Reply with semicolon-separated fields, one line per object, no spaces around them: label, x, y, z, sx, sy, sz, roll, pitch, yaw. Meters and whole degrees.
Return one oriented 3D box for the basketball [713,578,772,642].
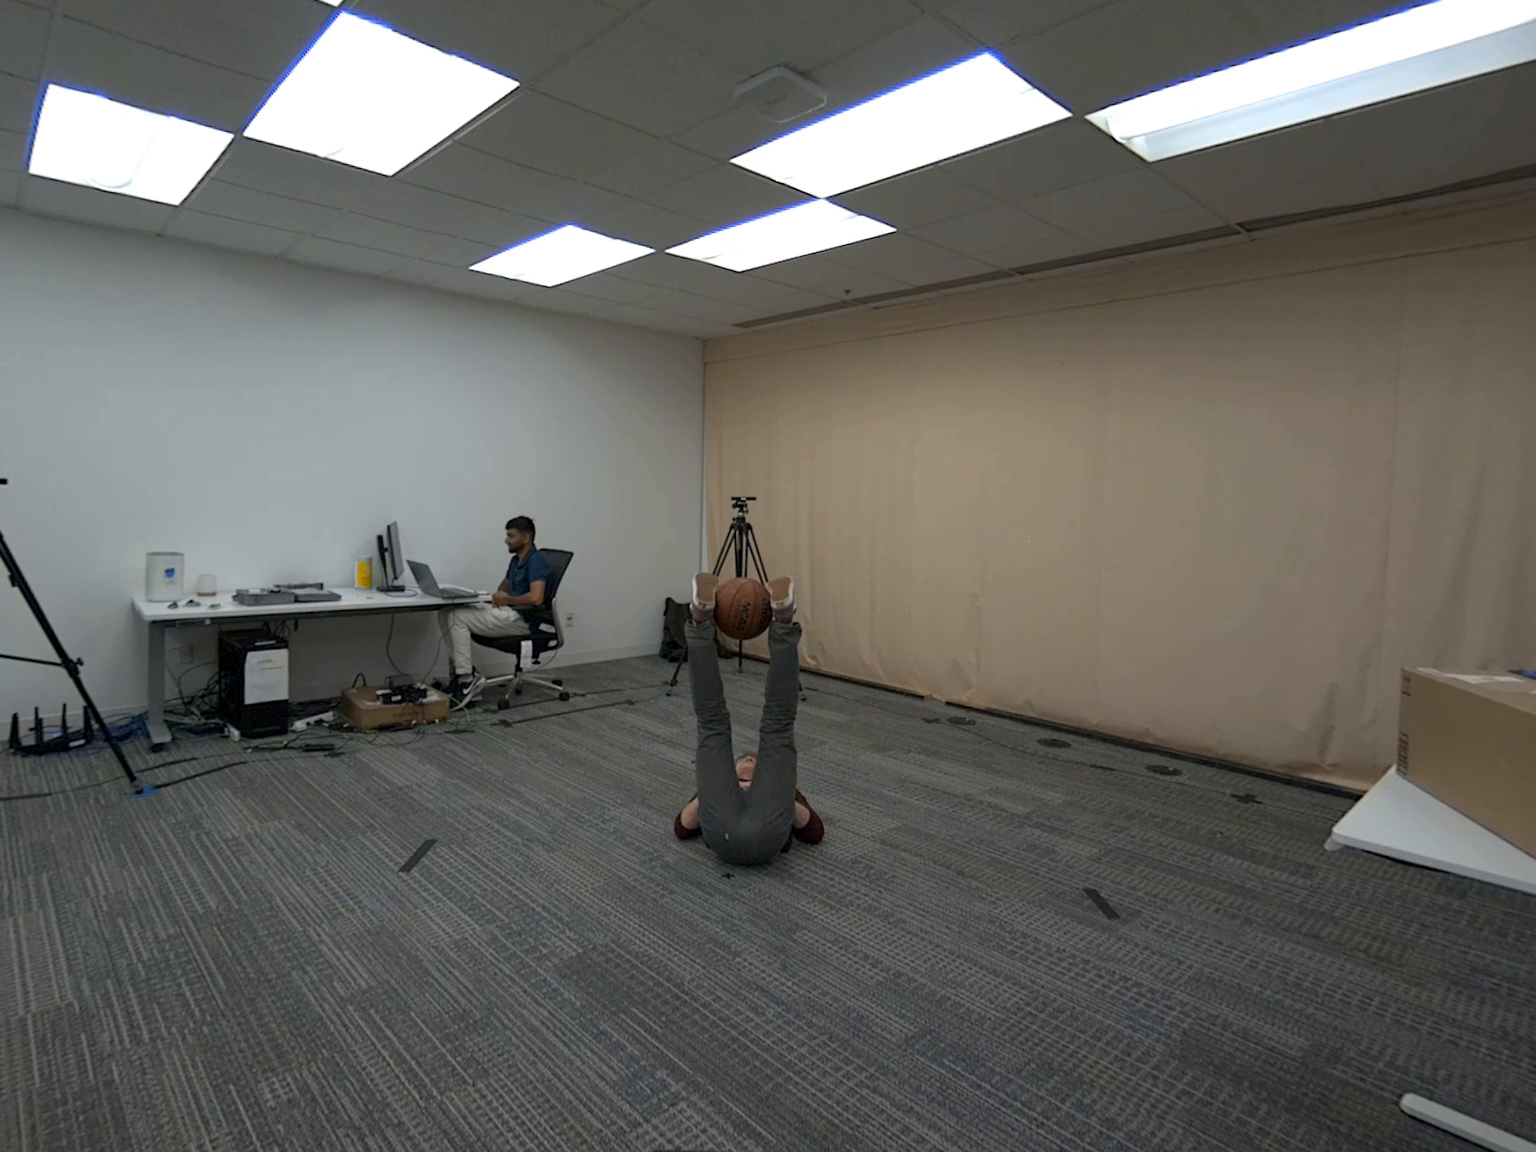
basketball;-0.110;0.135;3.186;0.236;0.234;0.237;0;7;-1
